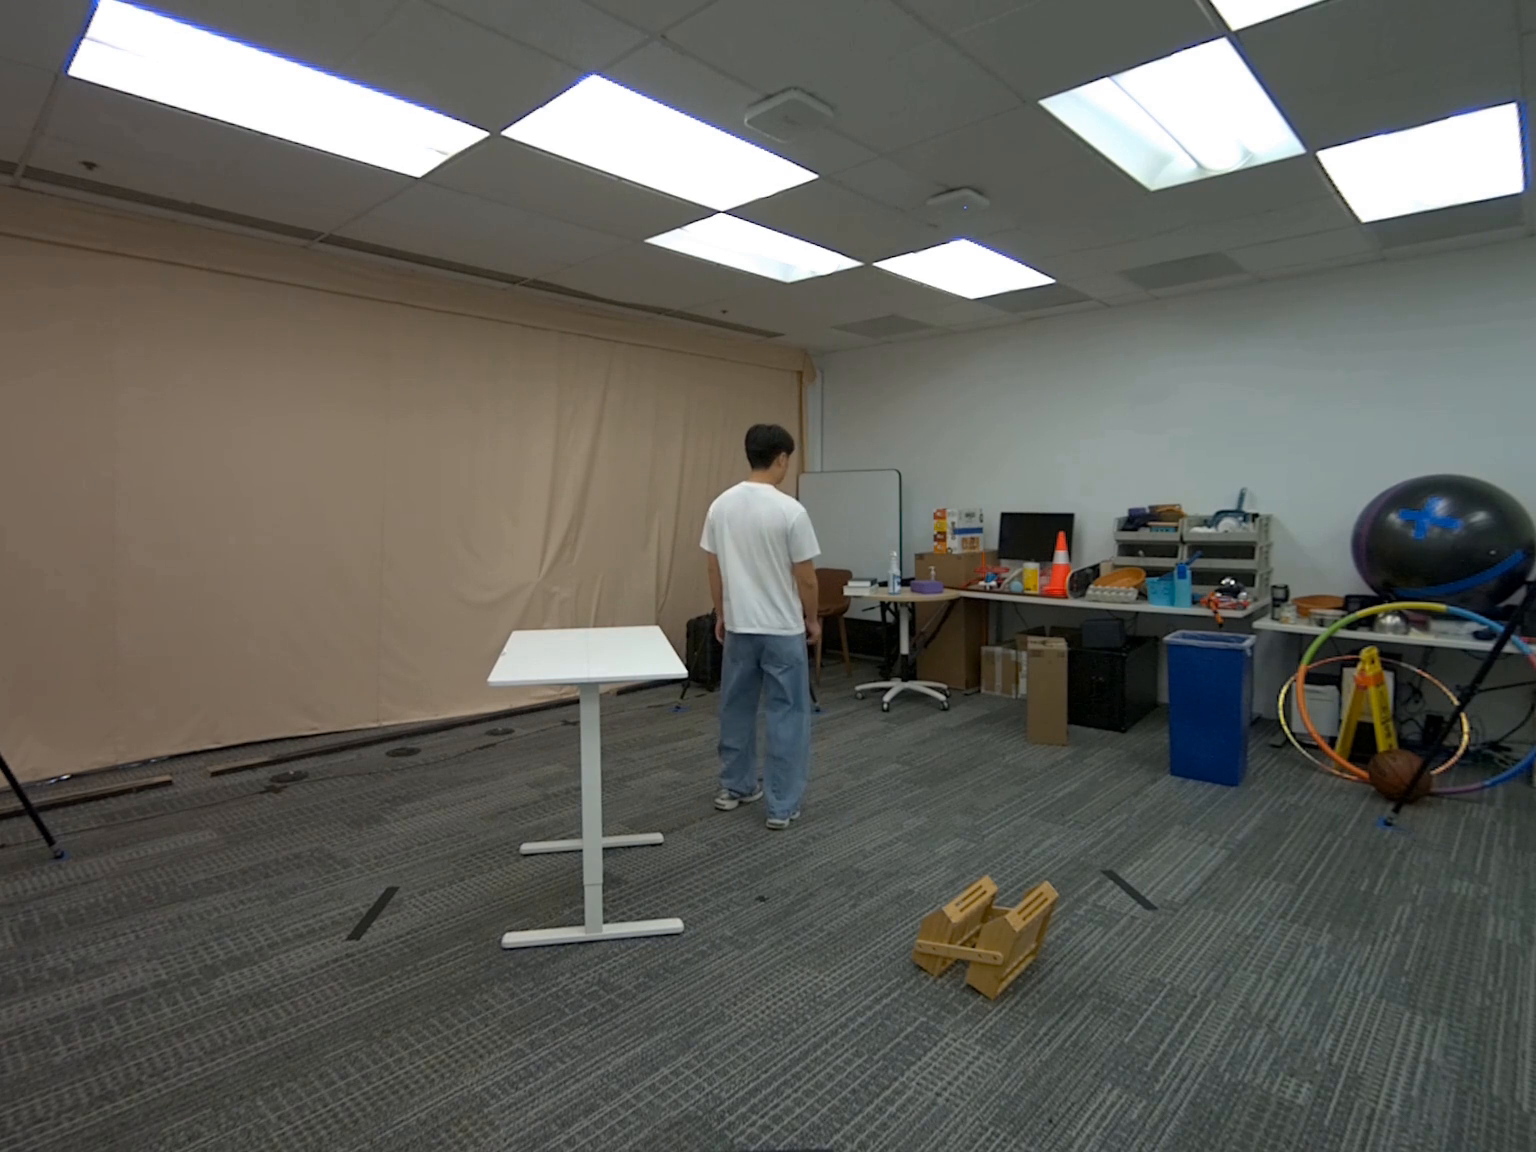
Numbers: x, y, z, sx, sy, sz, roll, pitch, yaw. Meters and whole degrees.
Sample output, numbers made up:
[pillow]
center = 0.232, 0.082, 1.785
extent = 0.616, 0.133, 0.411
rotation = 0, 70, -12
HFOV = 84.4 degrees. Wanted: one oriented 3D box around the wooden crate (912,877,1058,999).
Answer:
[wooden crate]
center = 0.653, 1.044, 2.534
extent = 0.283, 0.300, 0.315
rotation = 25, 19, 37
